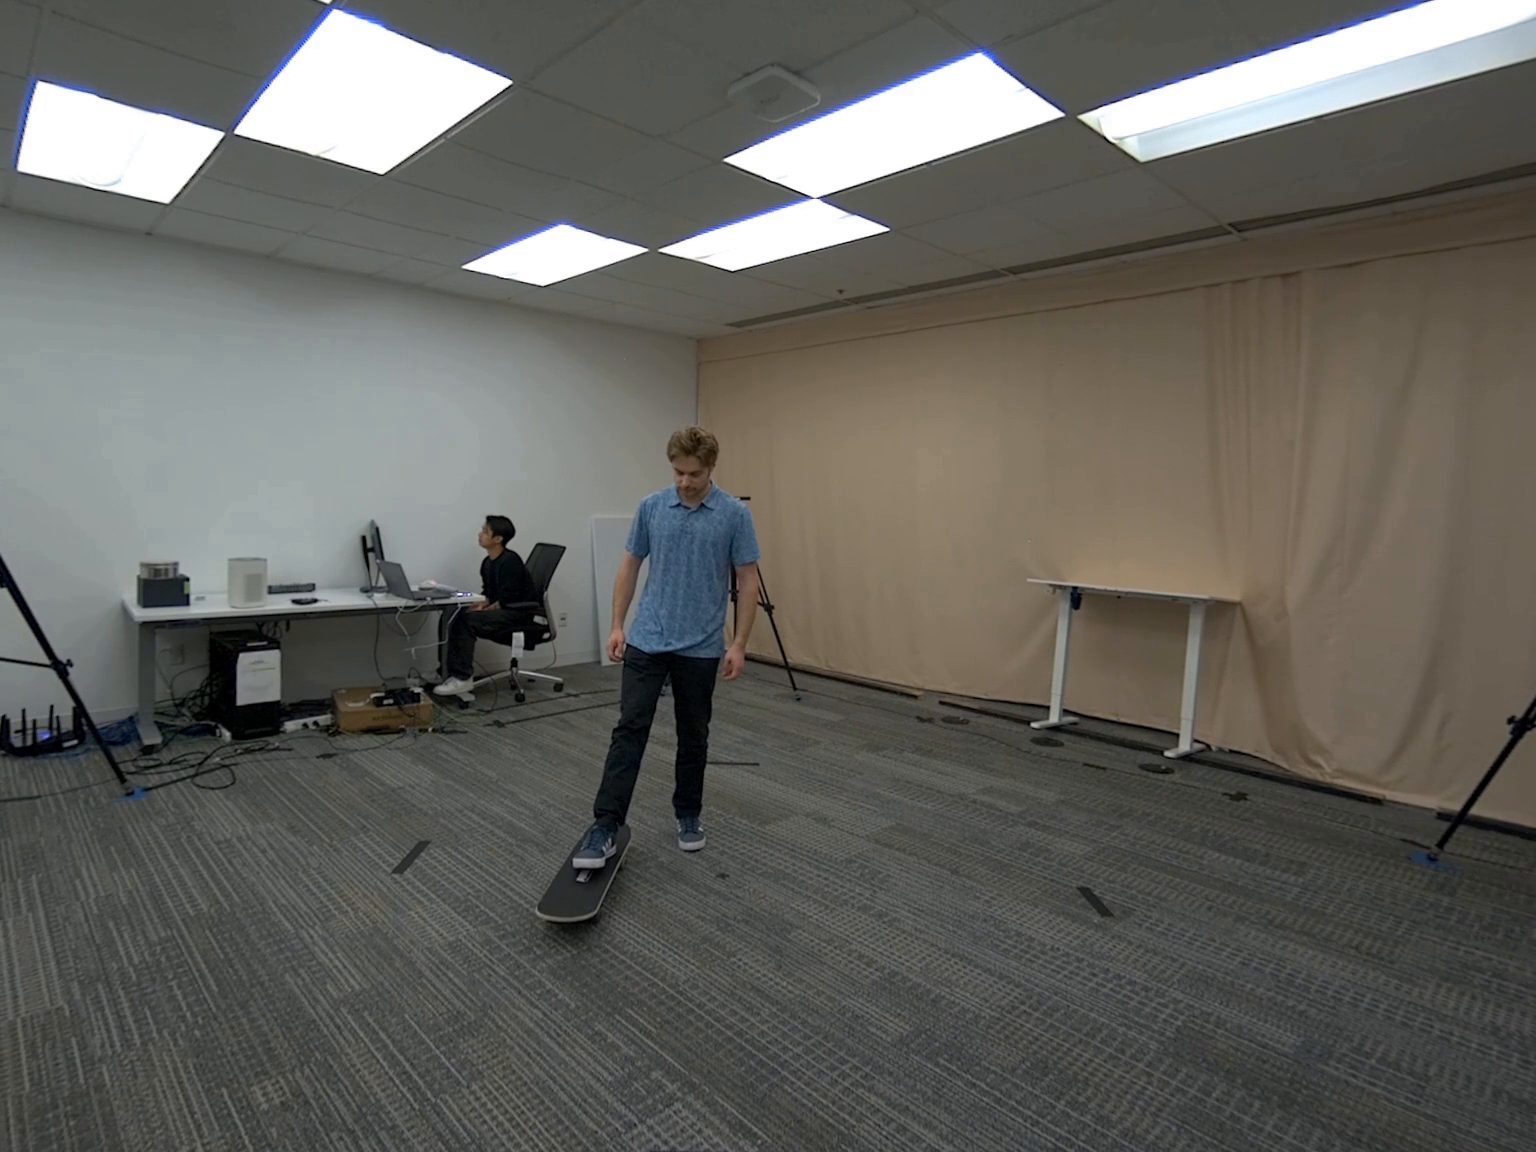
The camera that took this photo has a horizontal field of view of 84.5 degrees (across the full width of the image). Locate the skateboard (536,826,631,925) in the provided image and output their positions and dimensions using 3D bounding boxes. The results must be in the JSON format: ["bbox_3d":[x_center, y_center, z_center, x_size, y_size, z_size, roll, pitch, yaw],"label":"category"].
[{"bbox_3d":[-0.628,1.047,2.951,0.194,0.110,0.786,3,5,2],"label":"skateboard"}]
